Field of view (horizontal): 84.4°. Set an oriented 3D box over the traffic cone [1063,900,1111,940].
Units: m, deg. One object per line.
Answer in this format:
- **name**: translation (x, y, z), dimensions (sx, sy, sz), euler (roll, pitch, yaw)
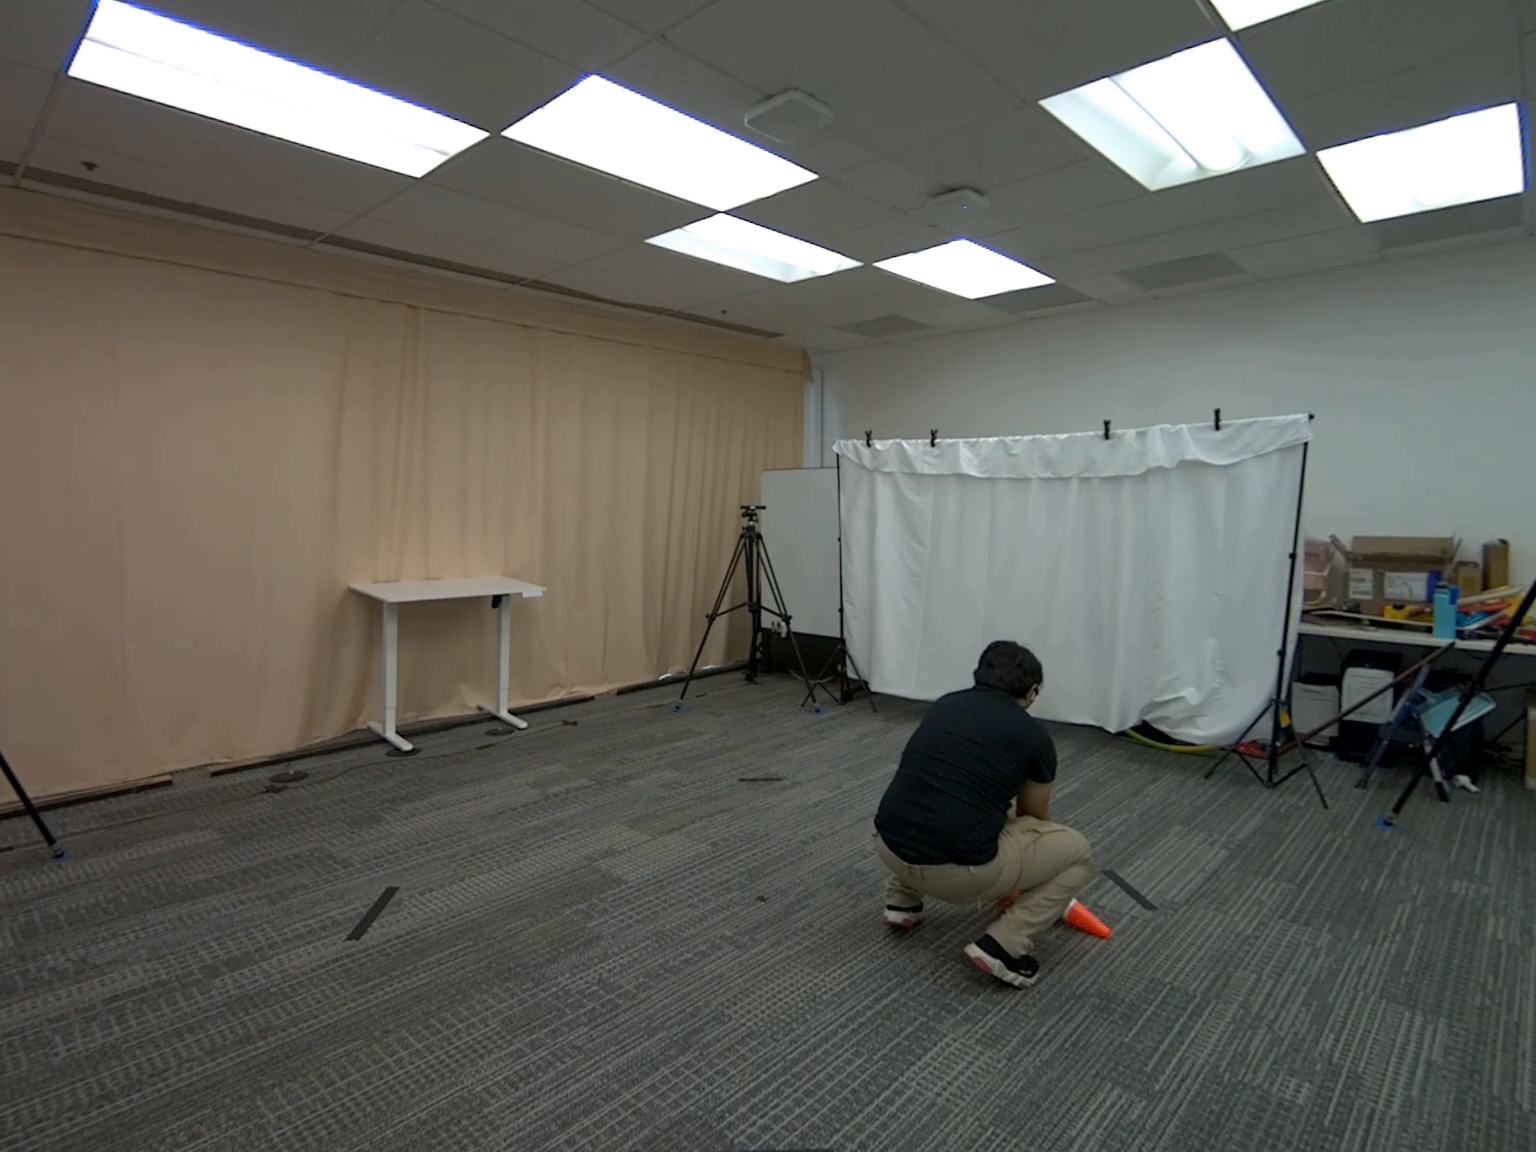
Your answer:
- **traffic cone**: translation (0.985, 1.093, 2.837), dimensions (0.398, 0.204, 0.196), euler (29, -17, 43)
